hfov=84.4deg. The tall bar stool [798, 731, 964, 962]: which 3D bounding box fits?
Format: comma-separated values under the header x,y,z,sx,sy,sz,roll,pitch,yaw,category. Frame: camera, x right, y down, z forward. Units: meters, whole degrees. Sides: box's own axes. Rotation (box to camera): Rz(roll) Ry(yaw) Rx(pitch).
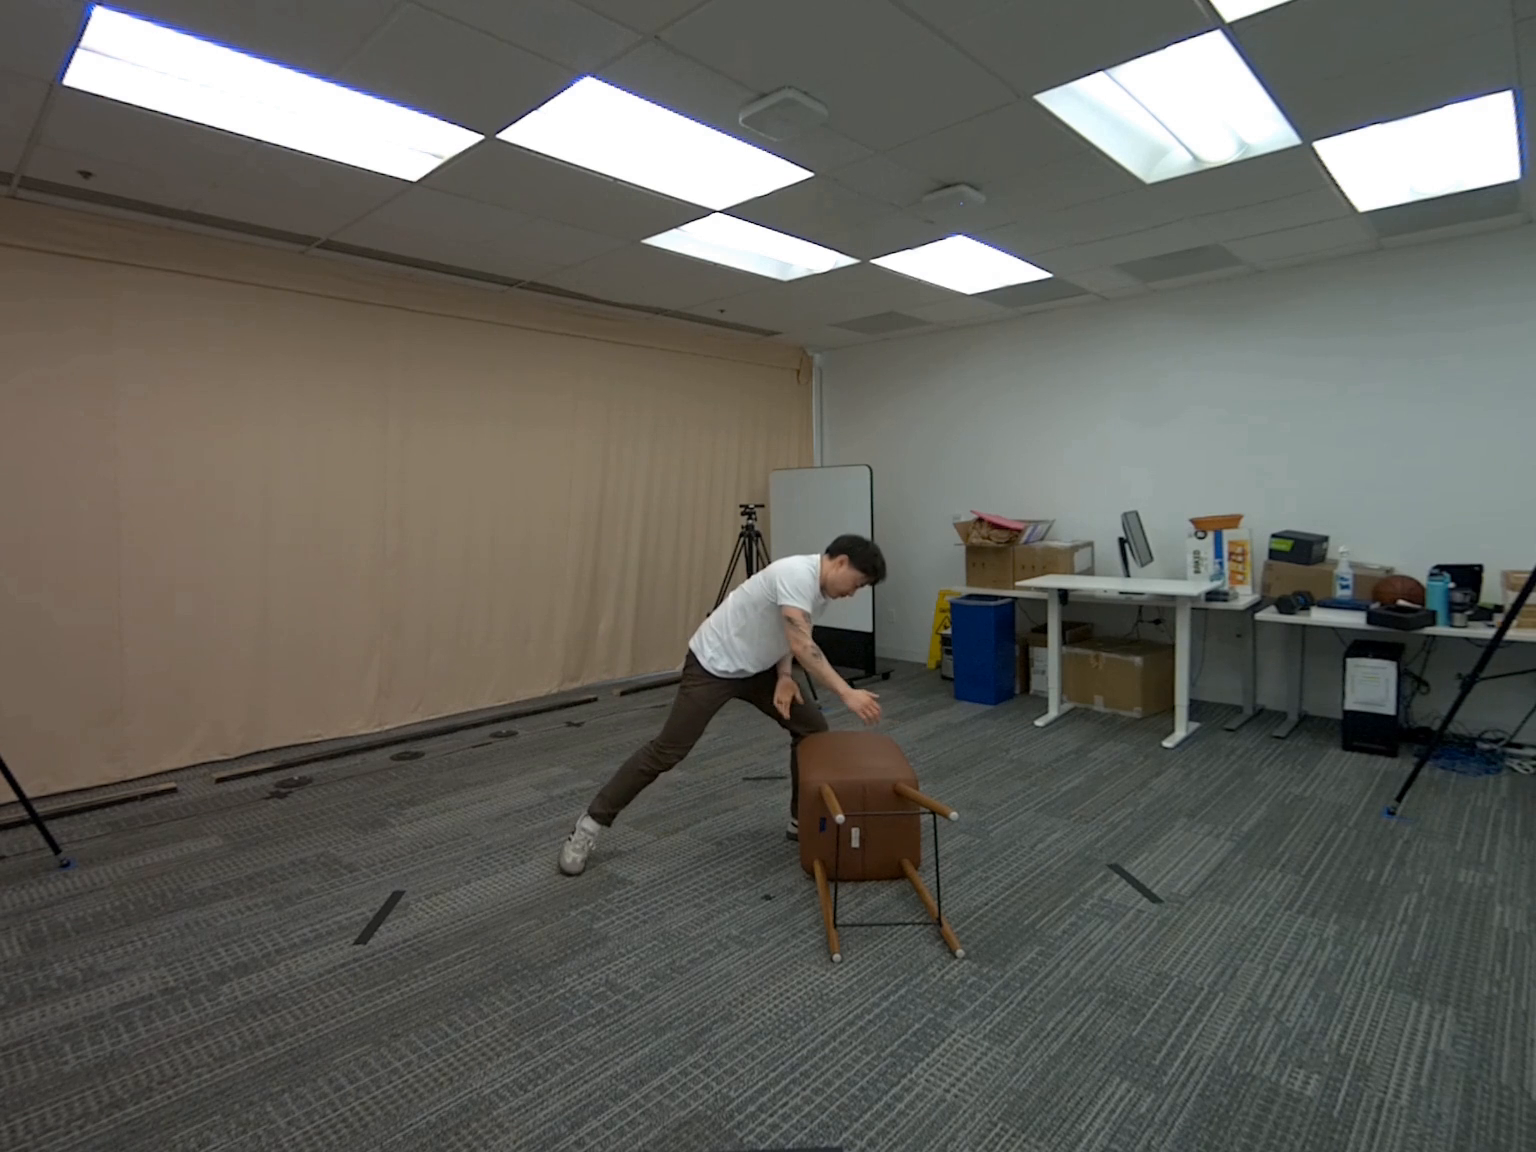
x,y,z,sx,sy,sz,roll,pitch,yaw,category
0.361,0.904,2.978,0.455,0.466,0.896,-2,6,-4,tall bar stool
